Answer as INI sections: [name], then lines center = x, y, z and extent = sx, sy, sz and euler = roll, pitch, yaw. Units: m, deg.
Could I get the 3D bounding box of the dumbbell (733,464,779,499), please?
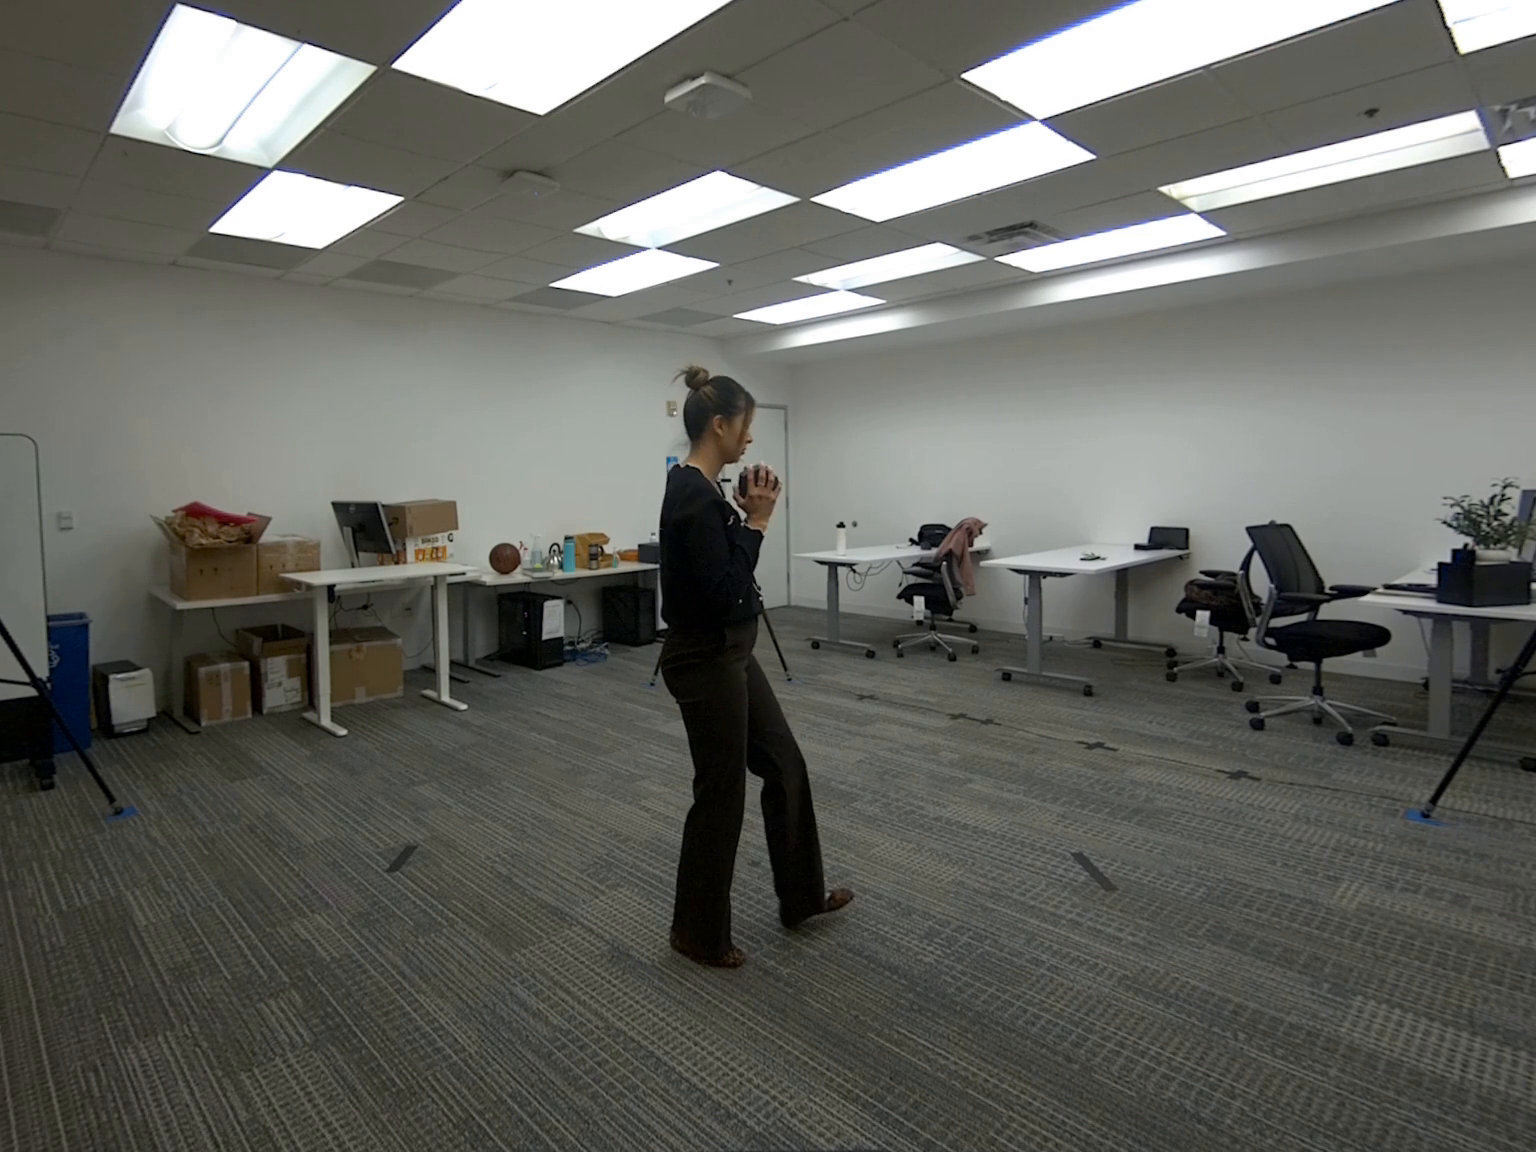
[dumbbell]
center = -0.047, -0.256, 2.477
extent = 0.123, 0.108, 0.295
euler = -27, 8, 2
